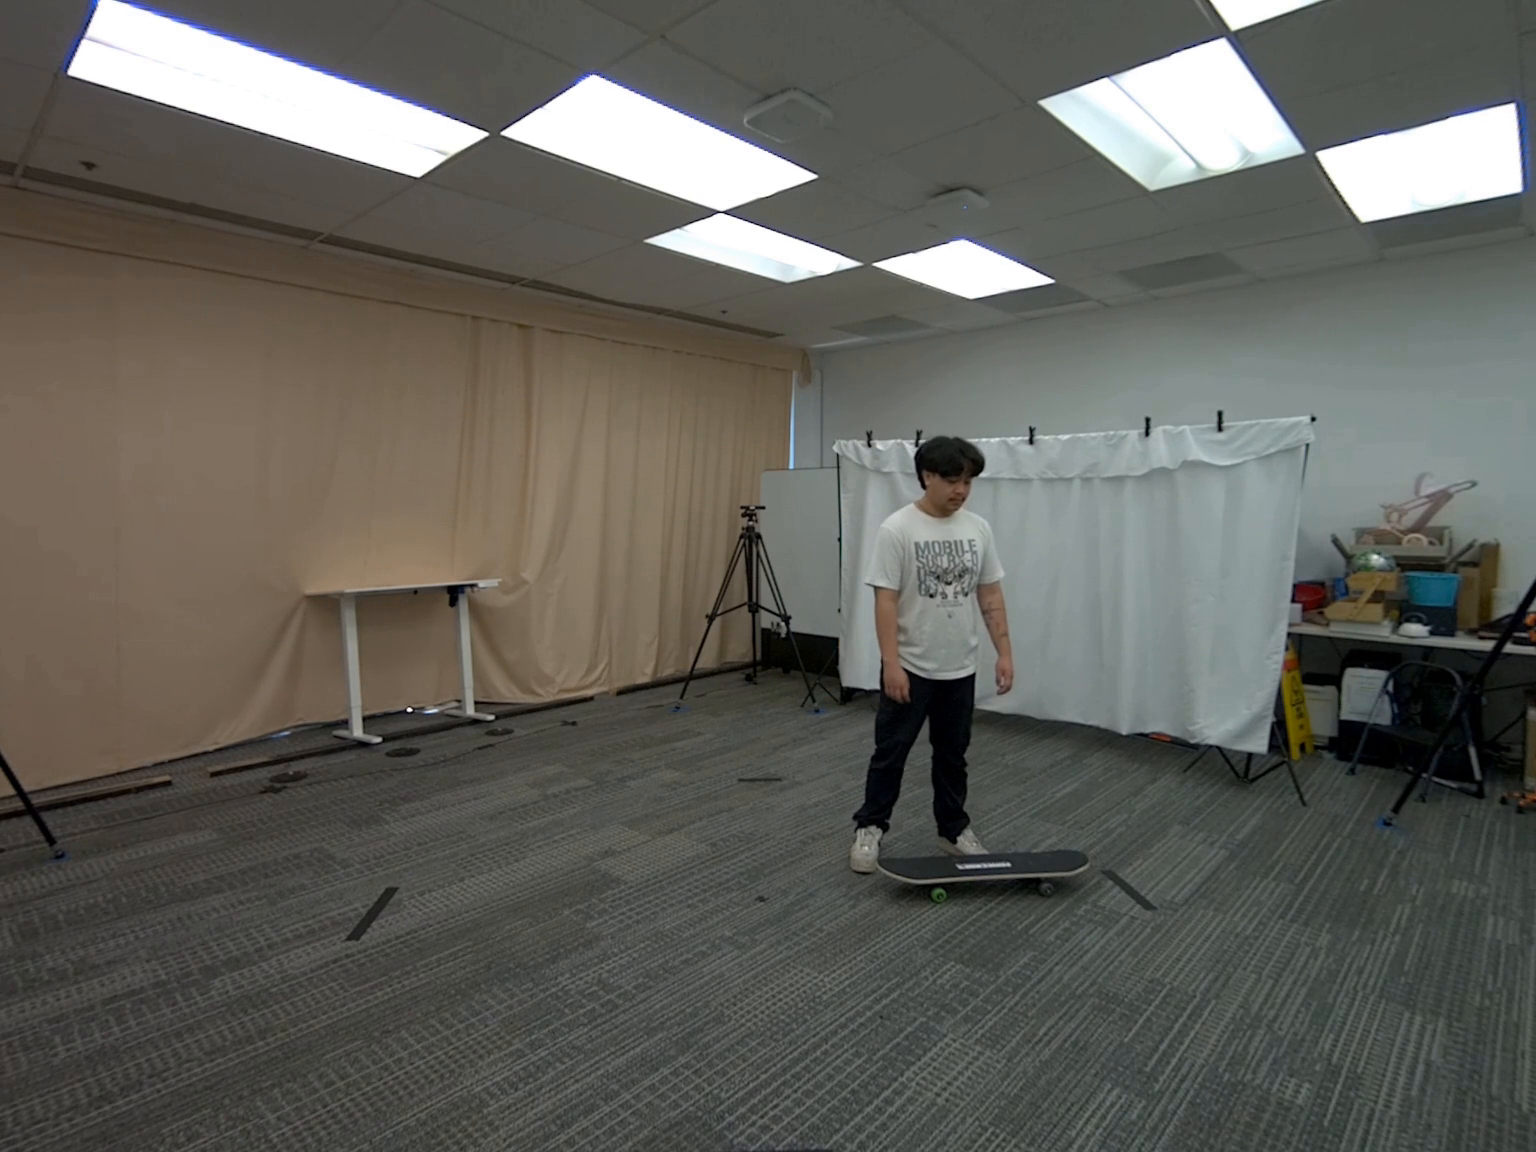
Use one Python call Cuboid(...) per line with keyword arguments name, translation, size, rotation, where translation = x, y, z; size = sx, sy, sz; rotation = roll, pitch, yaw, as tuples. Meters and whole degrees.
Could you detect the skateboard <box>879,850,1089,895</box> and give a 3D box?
Cuboid(name="skateboard", translation=(0.784, 1.080, 3.046), size=(0.779, 0.110, 0.195), rotation=(-1, 4, -8))
